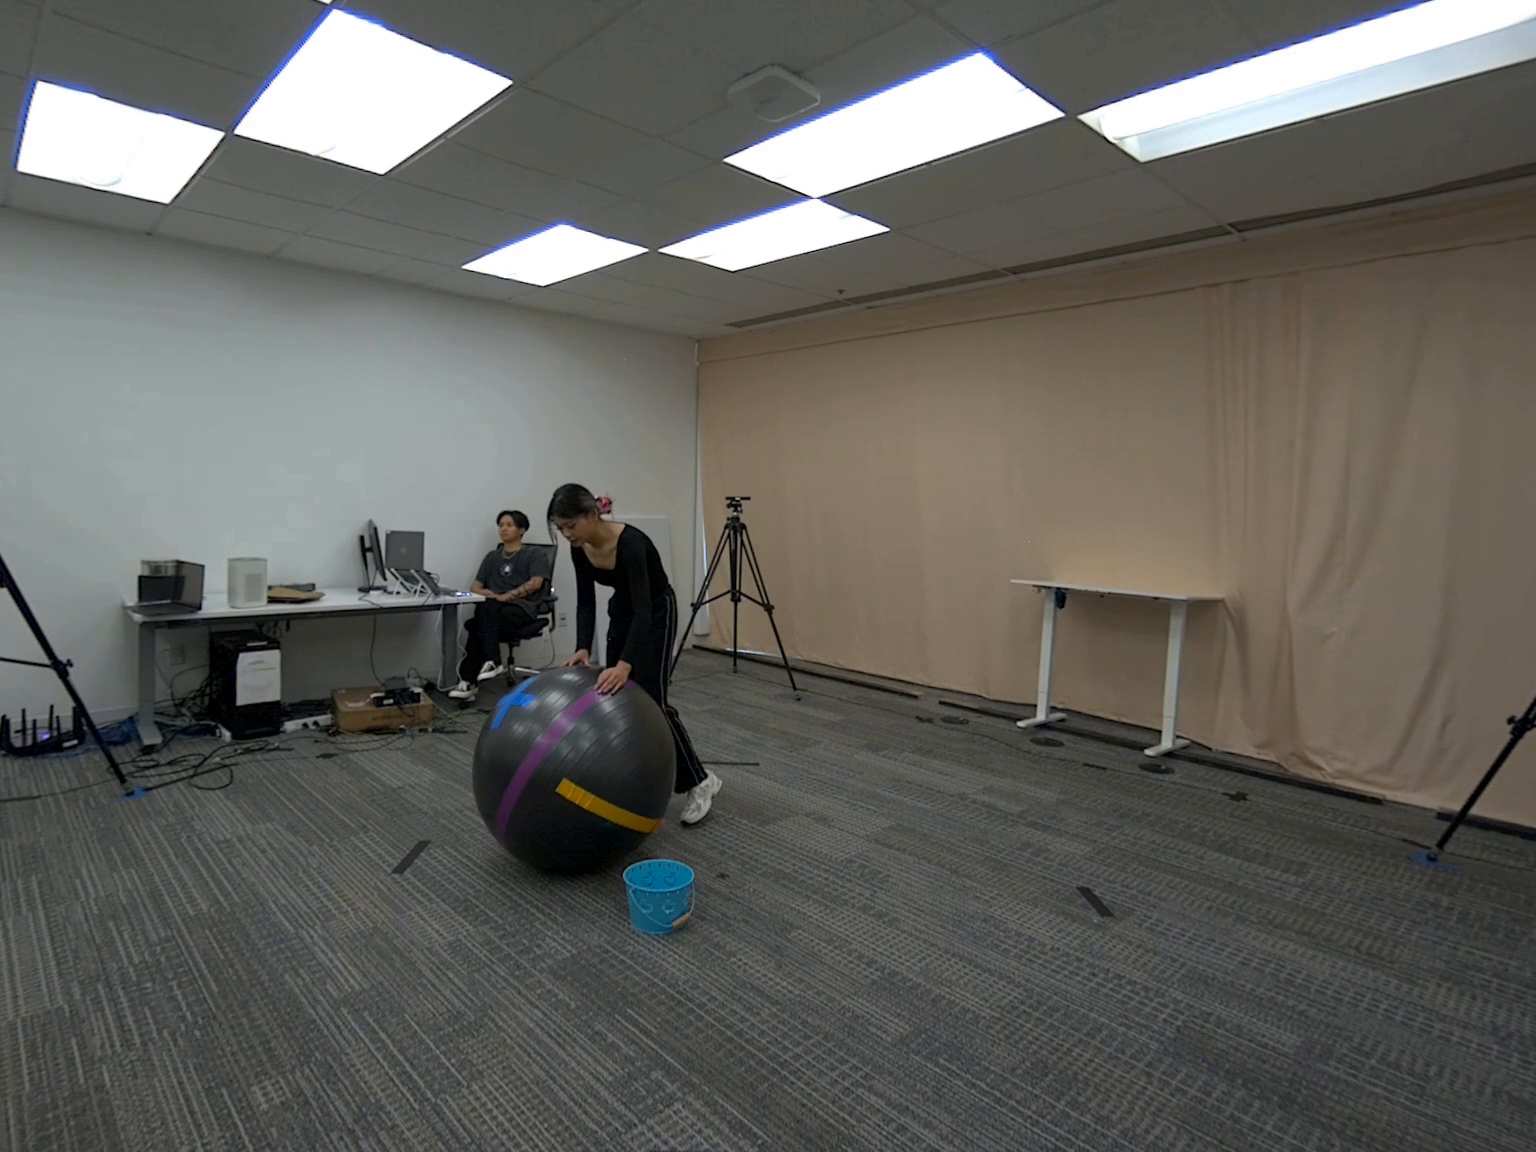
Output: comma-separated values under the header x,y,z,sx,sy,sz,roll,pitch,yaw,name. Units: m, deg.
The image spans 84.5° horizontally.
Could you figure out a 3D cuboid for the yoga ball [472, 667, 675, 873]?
x,y,z,sx,sy,sz,roll,pitch,yaw,name
-0.737,0.723,3.177,0.757,0.756,0.761,1,4,-1,yoga ball
